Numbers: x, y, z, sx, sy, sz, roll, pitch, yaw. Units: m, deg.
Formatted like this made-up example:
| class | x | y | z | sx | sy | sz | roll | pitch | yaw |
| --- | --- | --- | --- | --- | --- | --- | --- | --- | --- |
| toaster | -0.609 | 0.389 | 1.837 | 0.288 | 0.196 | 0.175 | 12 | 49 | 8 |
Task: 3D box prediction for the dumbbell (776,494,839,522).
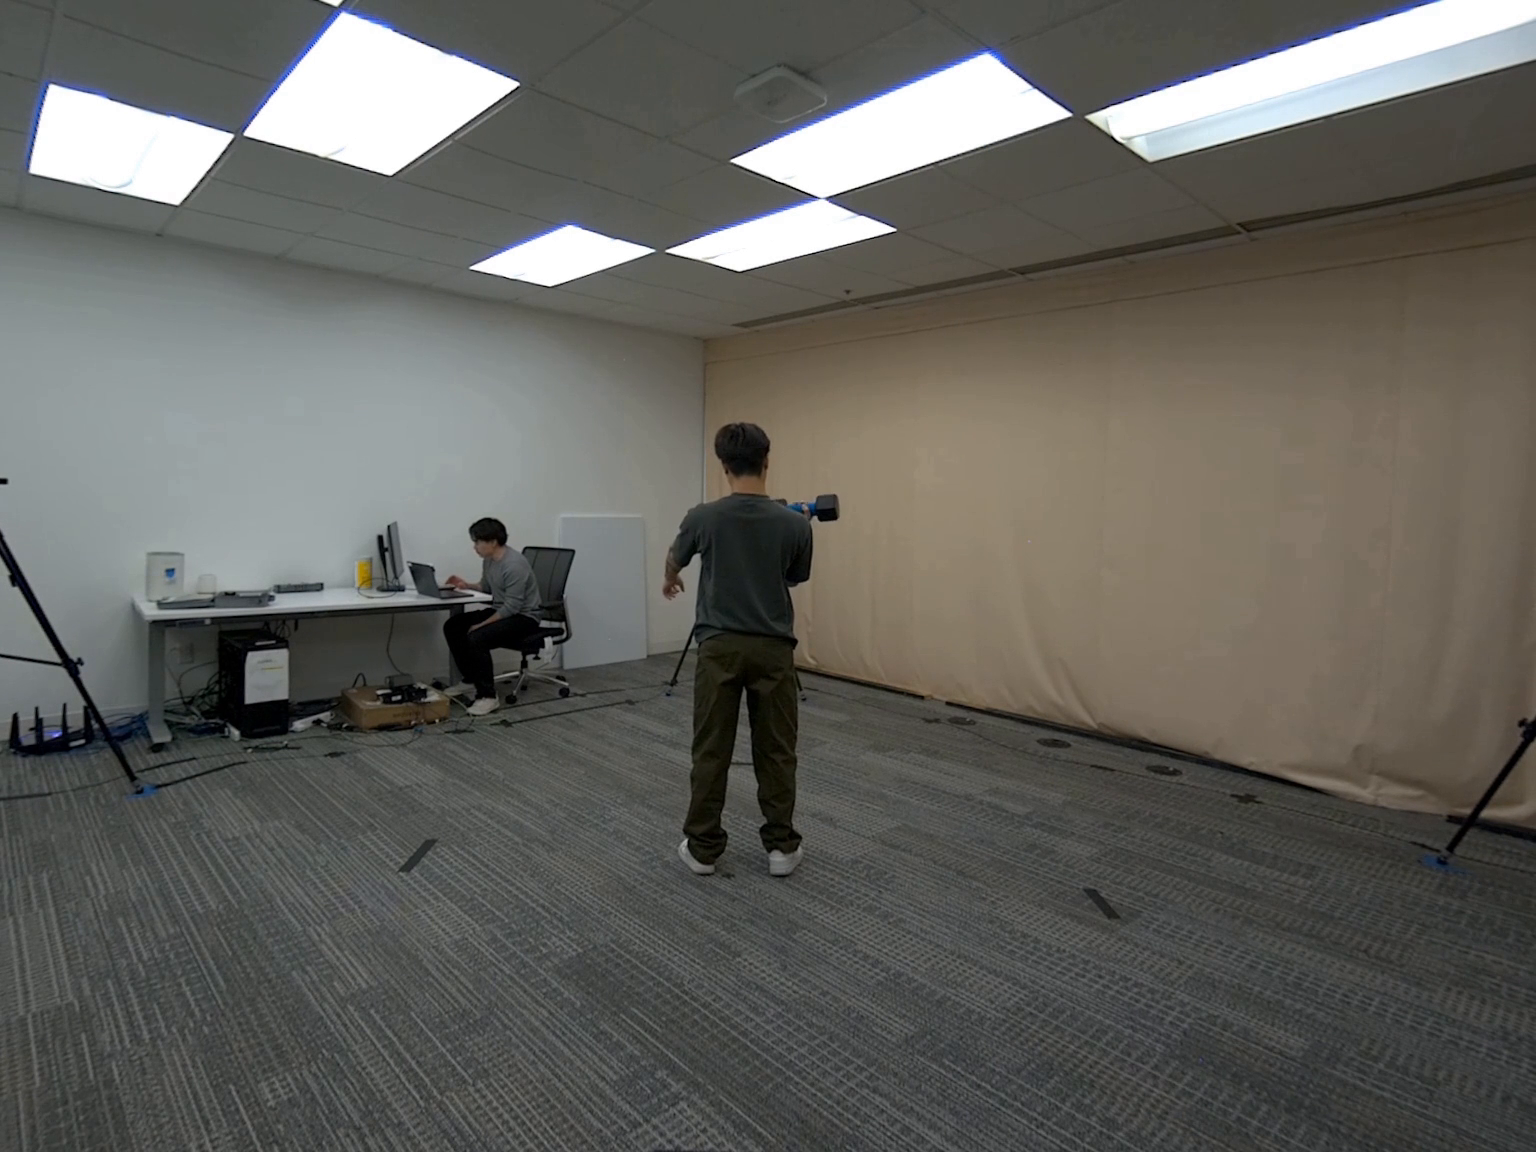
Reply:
| class | x | y | z | sx | sy | sz | roll | pitch | yaw |
| --- | --- | --- | --- | --- | --- | --- | --- | --- | --- |
| dumbbell | 0.133 | -0.267 | 3.412 | 0.297 | 0.120 | 0.110 | -1 | 36 | 15 |
